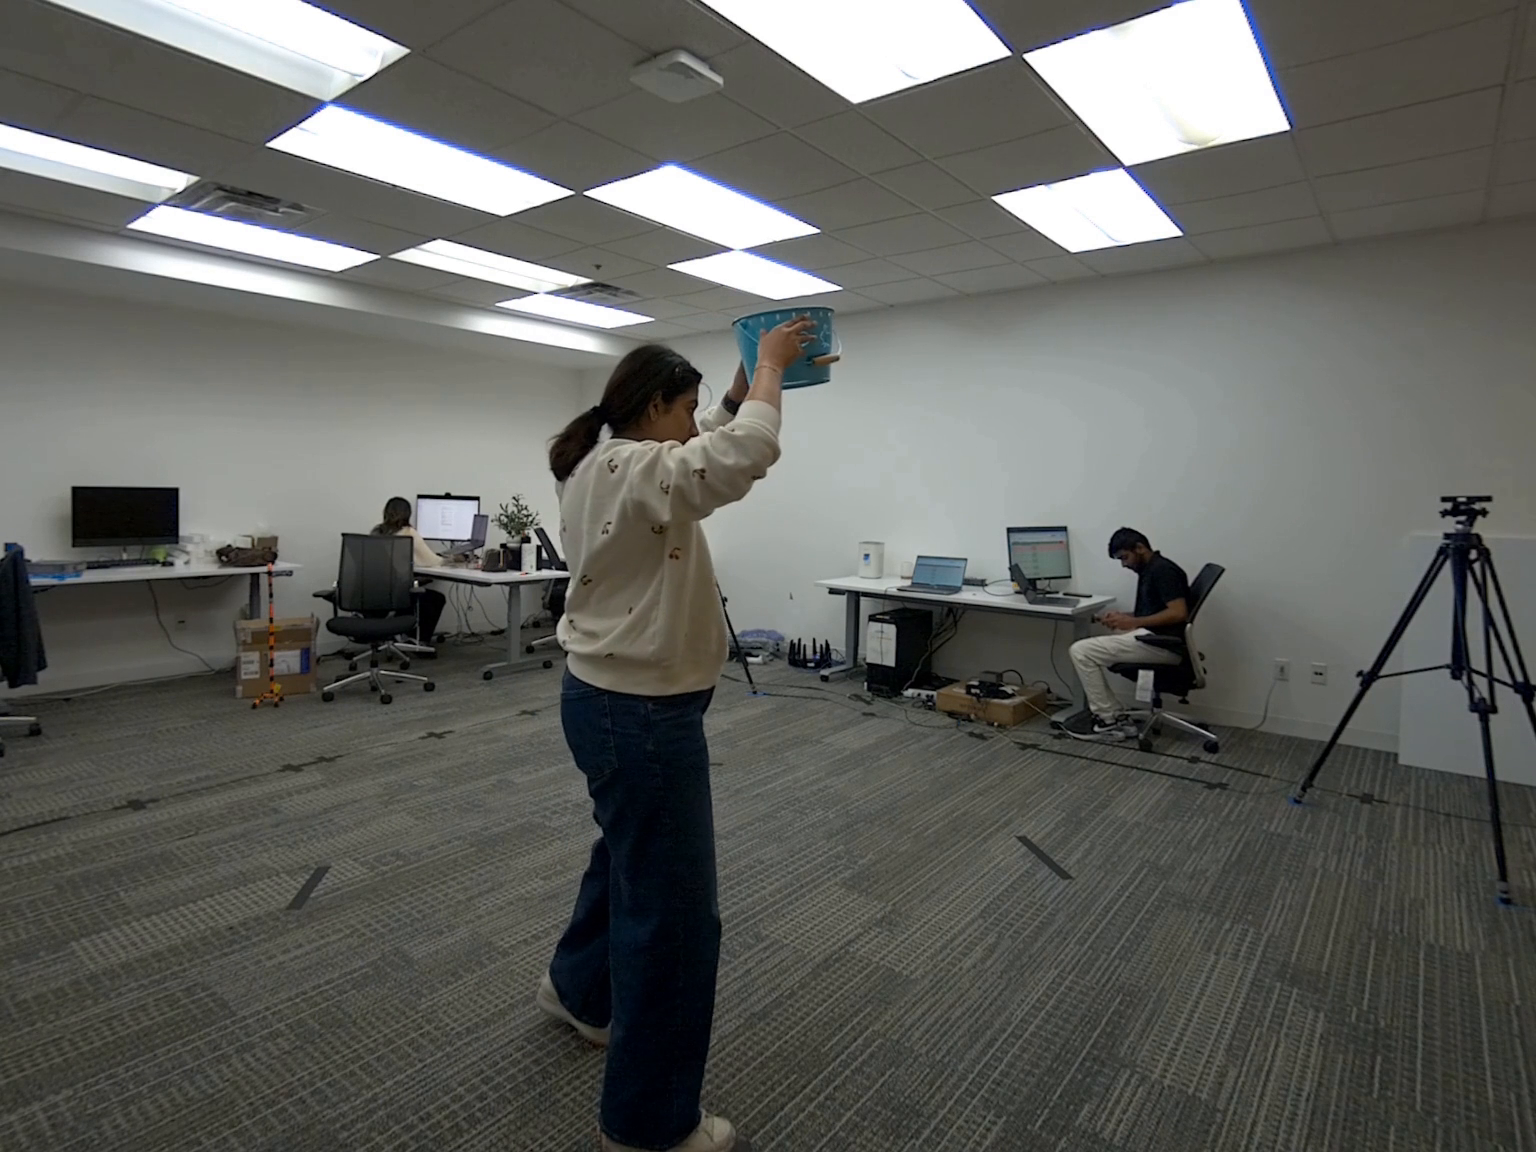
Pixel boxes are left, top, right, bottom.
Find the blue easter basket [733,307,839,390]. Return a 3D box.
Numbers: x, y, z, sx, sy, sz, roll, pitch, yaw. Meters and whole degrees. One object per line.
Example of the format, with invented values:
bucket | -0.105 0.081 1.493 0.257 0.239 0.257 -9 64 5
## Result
blue easter basket | 0.038 -0.499 1.877 0.243 0.155 0.245 -7 6 -1
